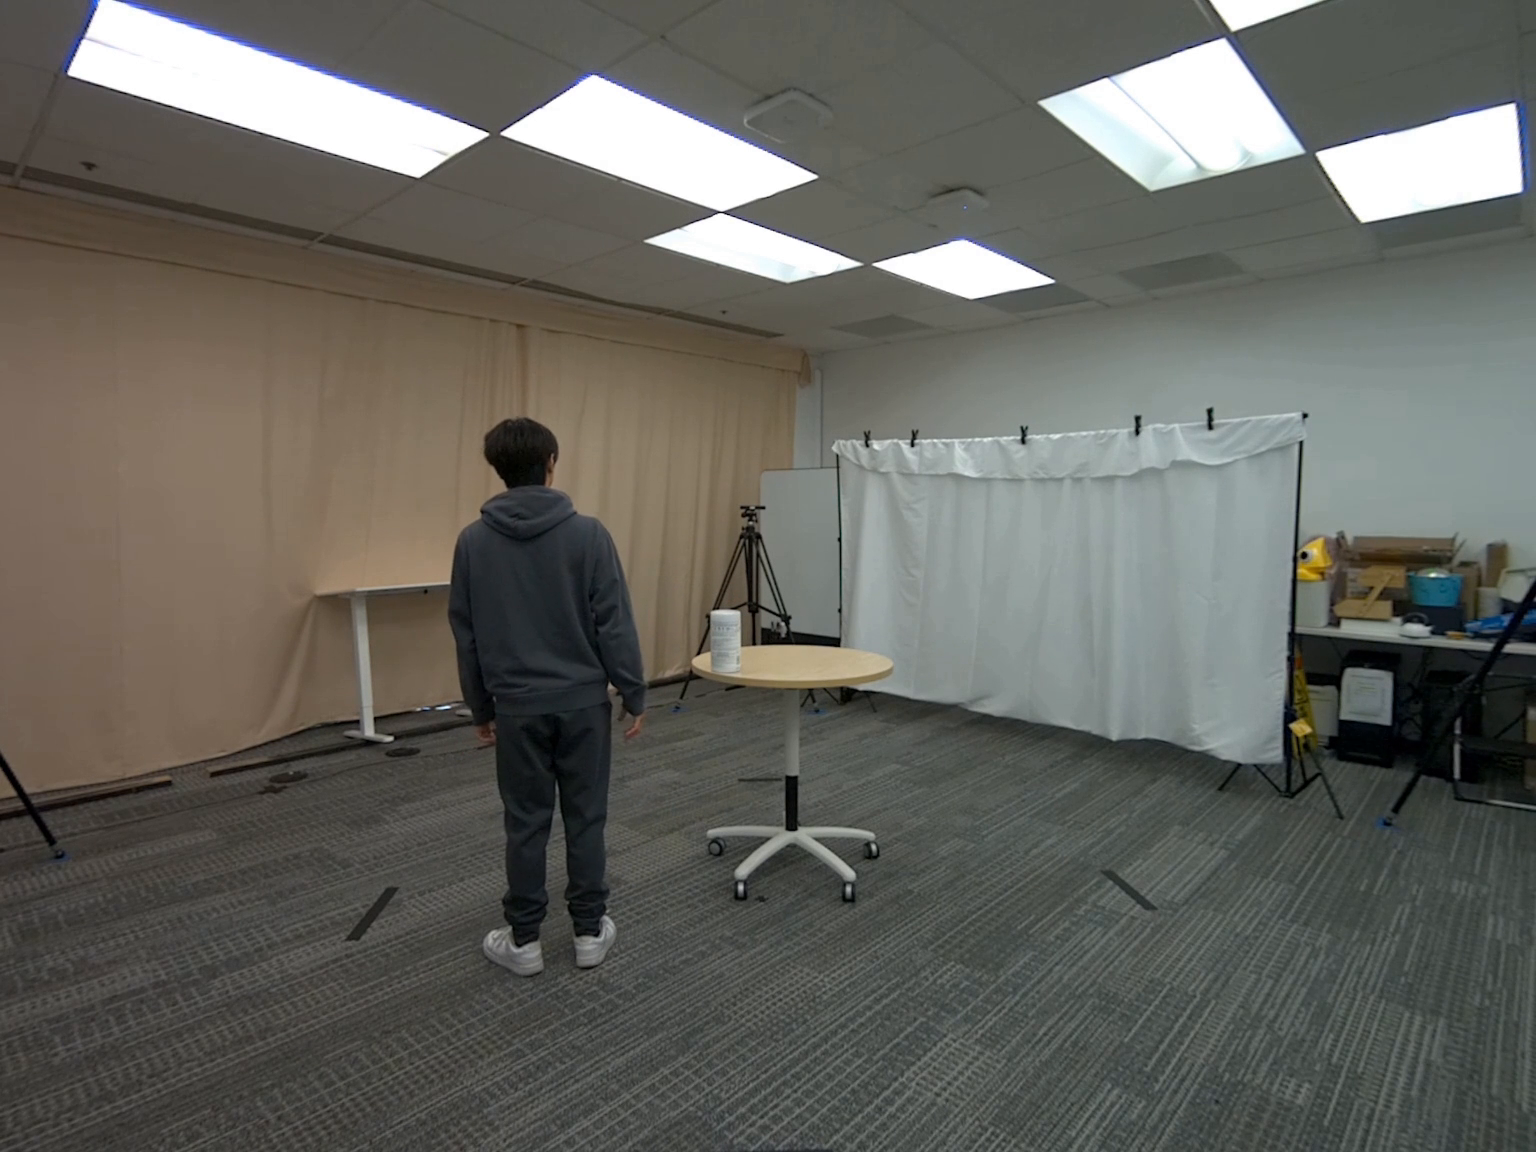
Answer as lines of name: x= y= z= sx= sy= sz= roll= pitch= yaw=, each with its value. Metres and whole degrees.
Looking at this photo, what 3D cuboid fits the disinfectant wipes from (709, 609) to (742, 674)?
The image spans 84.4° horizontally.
disinfectant wipes: x=-0.148 y=0.237 z=3.034 sx=0.118 sy=0.217 sz=0.118 roll=-2 pitch=4 yaw=-2
